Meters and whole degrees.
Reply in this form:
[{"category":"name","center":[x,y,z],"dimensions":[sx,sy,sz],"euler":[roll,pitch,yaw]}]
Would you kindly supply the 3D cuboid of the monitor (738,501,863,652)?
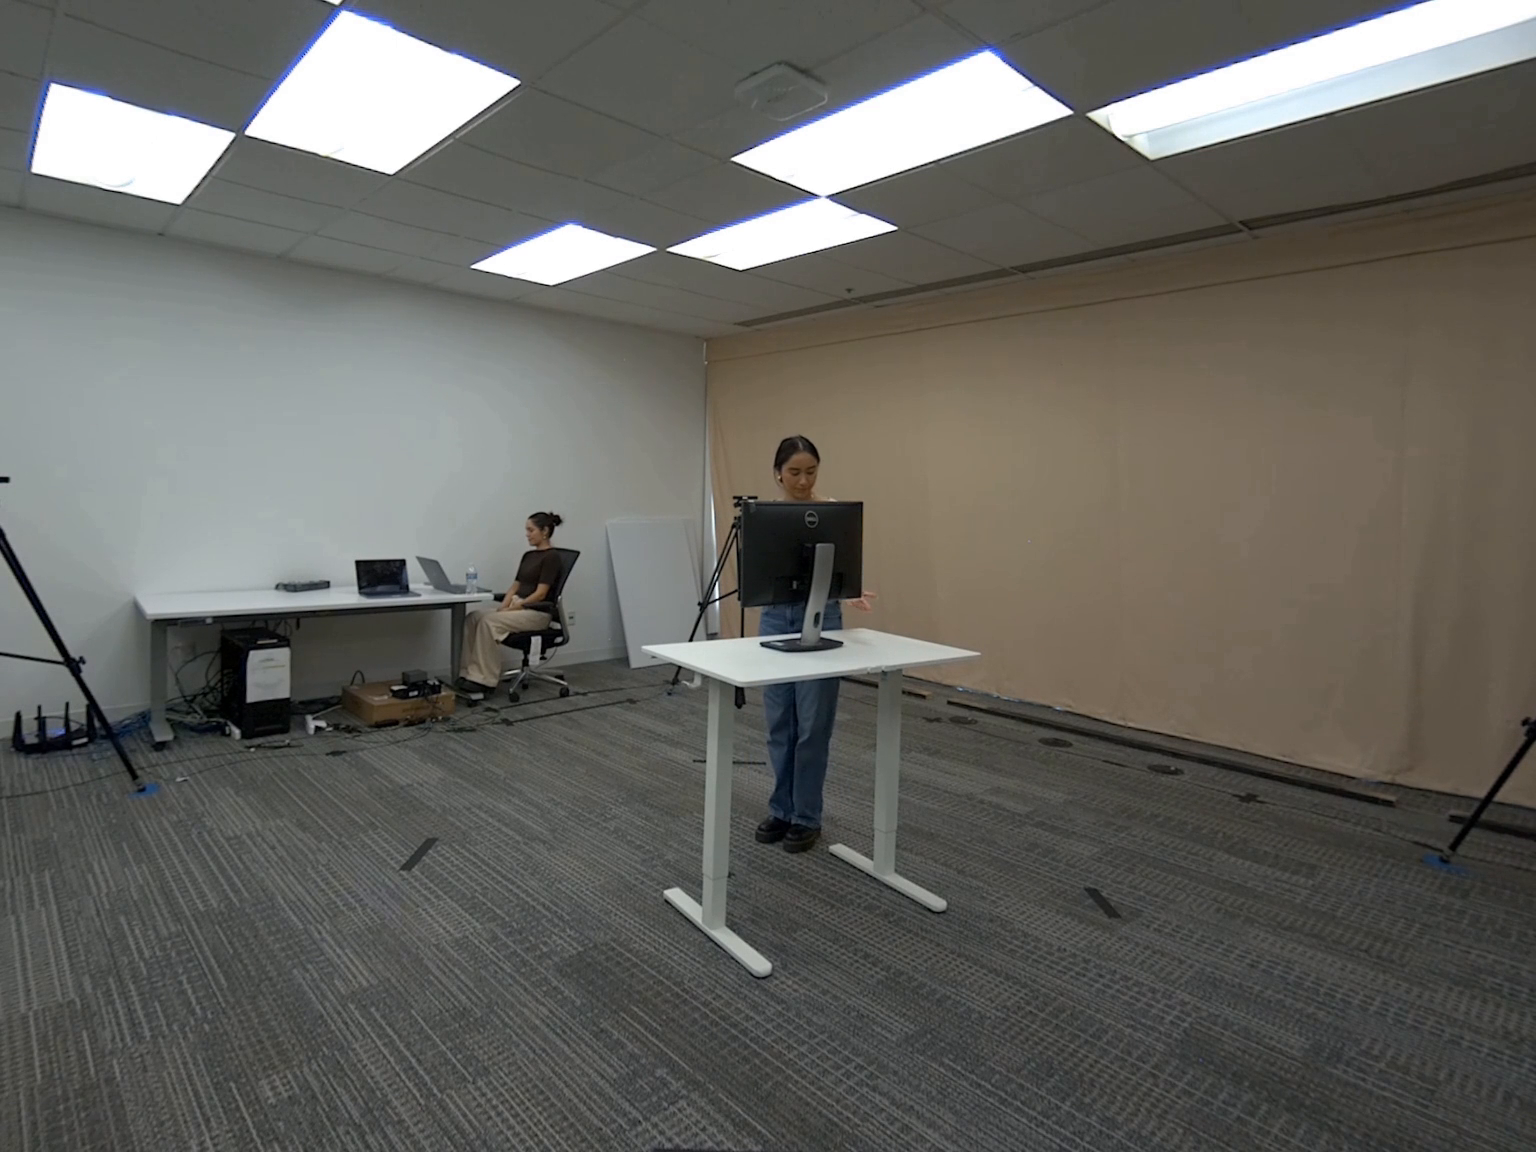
[{"category":"monitor","center":[0.137,0.004,2.892],"dimensions":[0.527,0.523,0.191],"euler":[-3,0,-37]}]
